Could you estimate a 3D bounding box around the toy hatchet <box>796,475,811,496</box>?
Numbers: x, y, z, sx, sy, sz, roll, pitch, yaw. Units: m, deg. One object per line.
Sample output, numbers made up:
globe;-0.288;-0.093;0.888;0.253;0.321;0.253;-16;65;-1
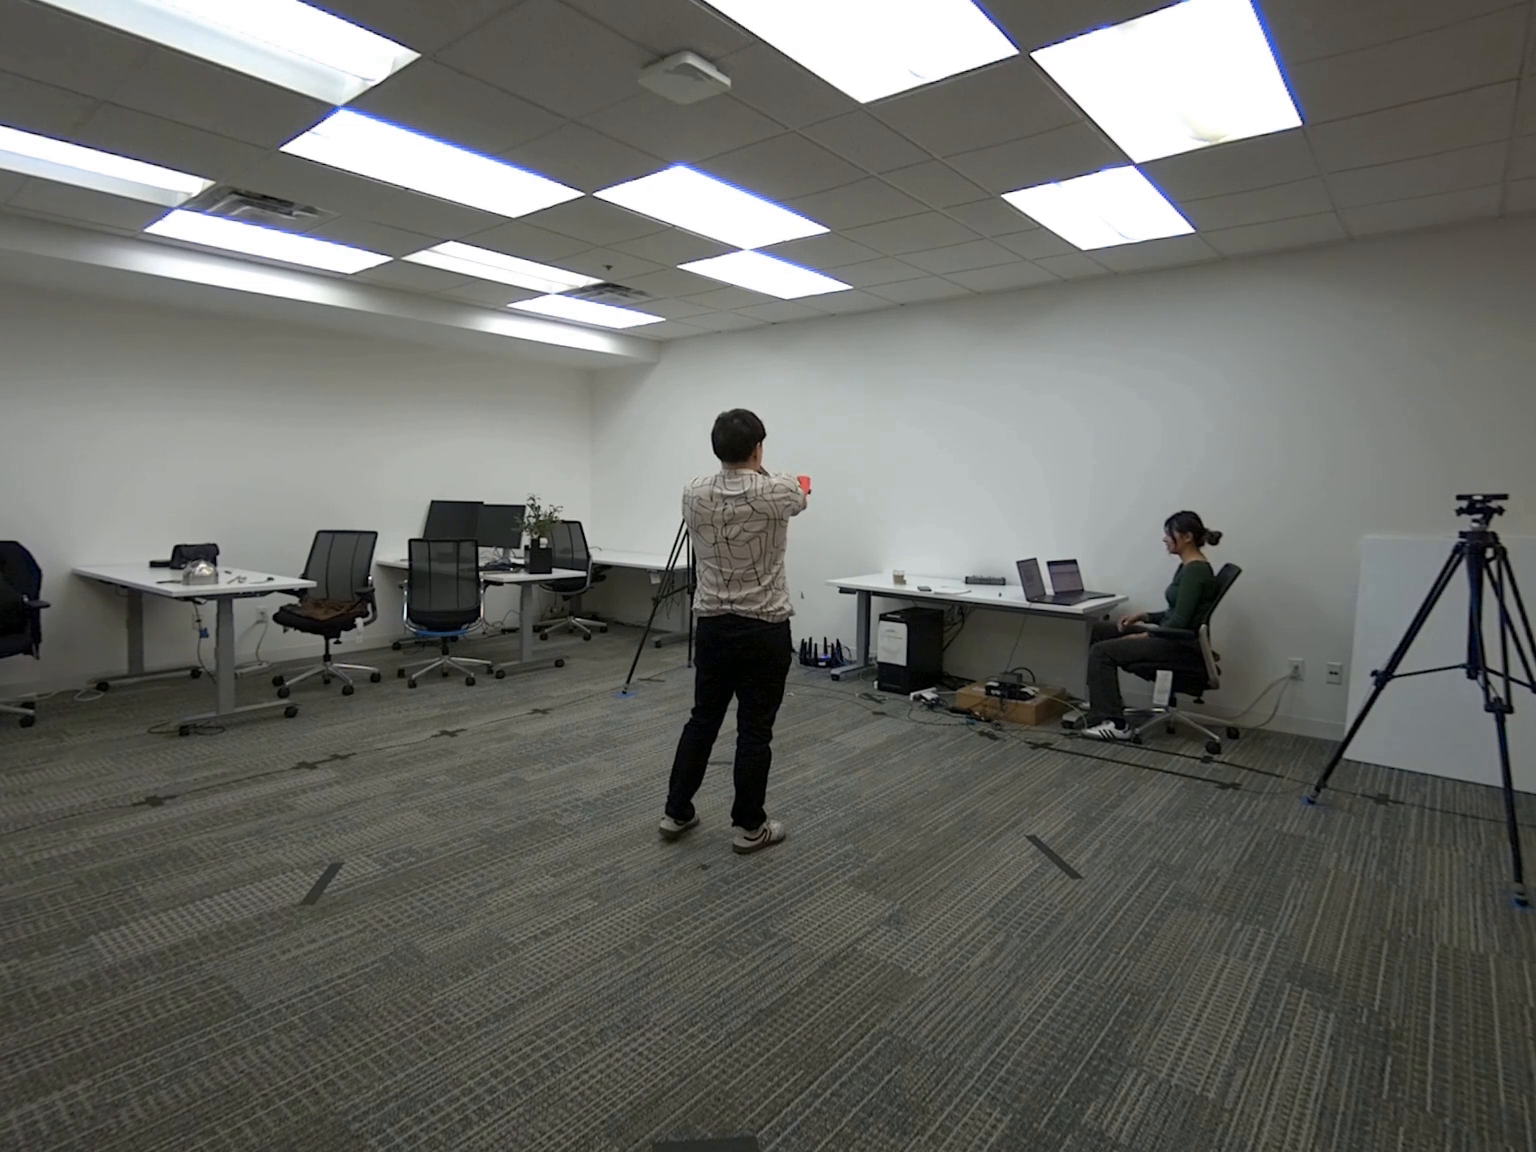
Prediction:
toy hatchet;0.061;-0.434;3.714;0.276;0.131;0.029;38;-19;16
